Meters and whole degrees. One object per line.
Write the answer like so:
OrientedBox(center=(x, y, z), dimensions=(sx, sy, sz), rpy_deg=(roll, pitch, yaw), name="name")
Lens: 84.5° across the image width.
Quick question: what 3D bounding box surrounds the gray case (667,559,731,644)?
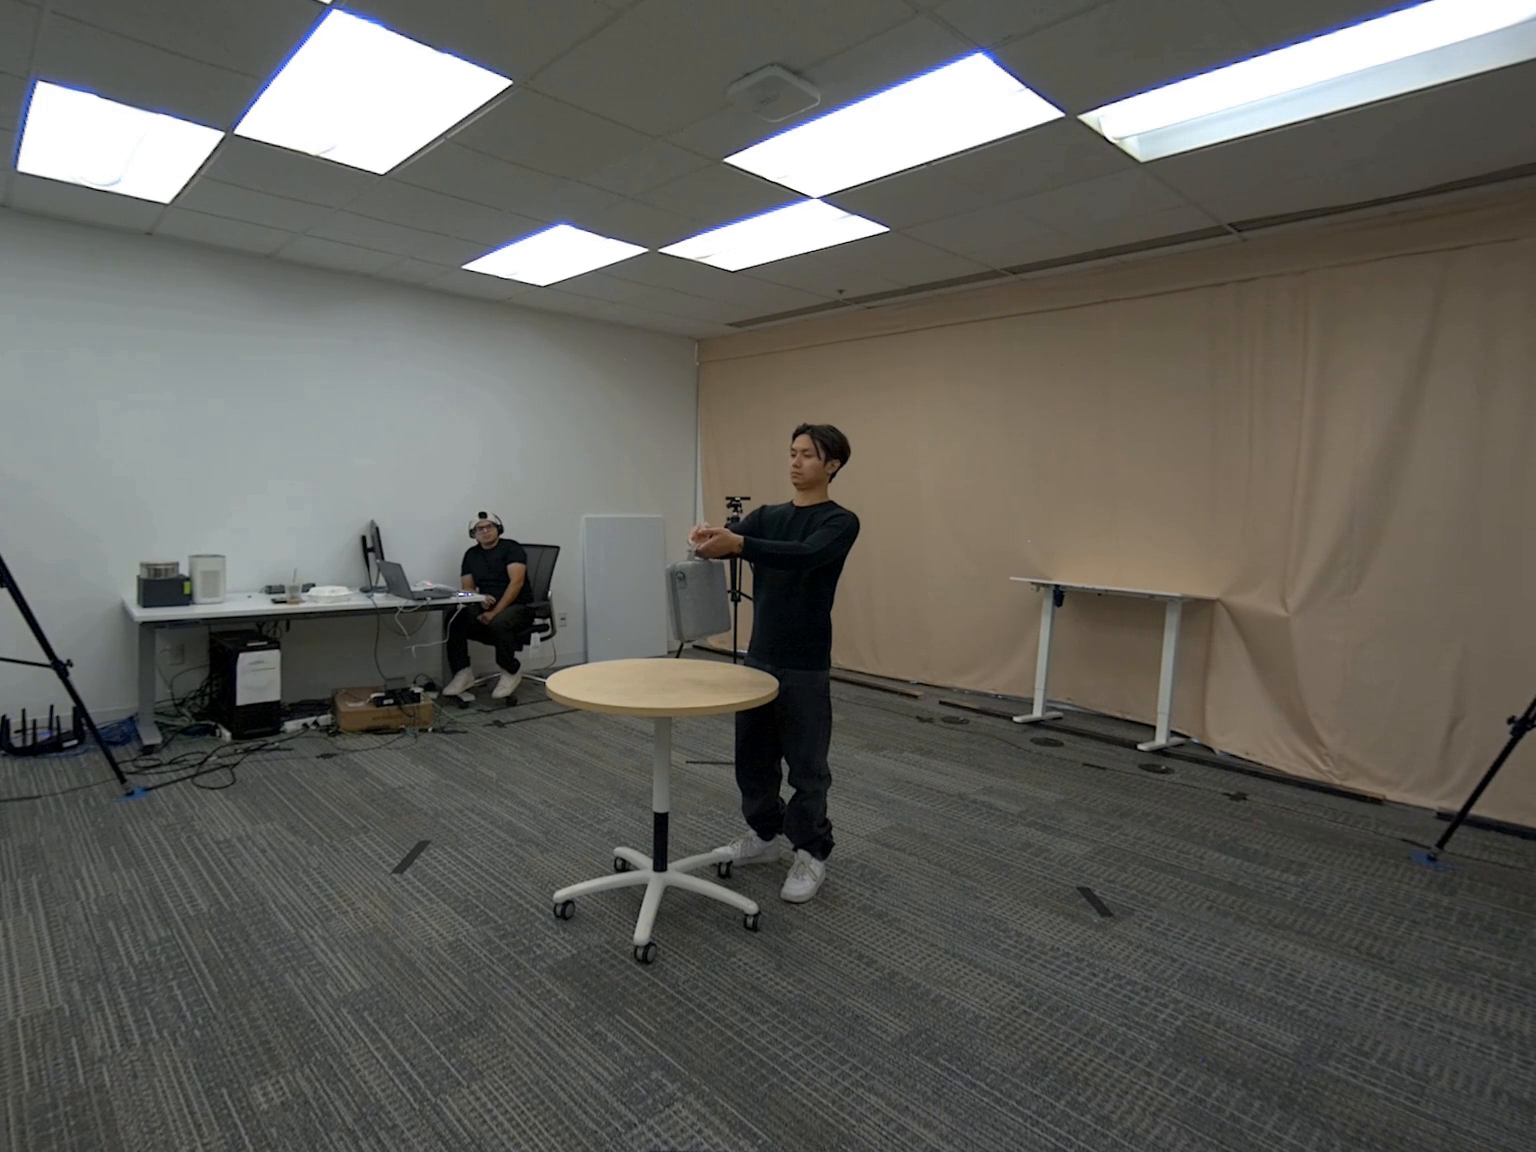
OrientedBox(center=(-0.232, 0.073, 2.735), dimensions=(0.106, 0.261, 0.252), rpy_deg=(-5, 0, 27), name="gray case")
